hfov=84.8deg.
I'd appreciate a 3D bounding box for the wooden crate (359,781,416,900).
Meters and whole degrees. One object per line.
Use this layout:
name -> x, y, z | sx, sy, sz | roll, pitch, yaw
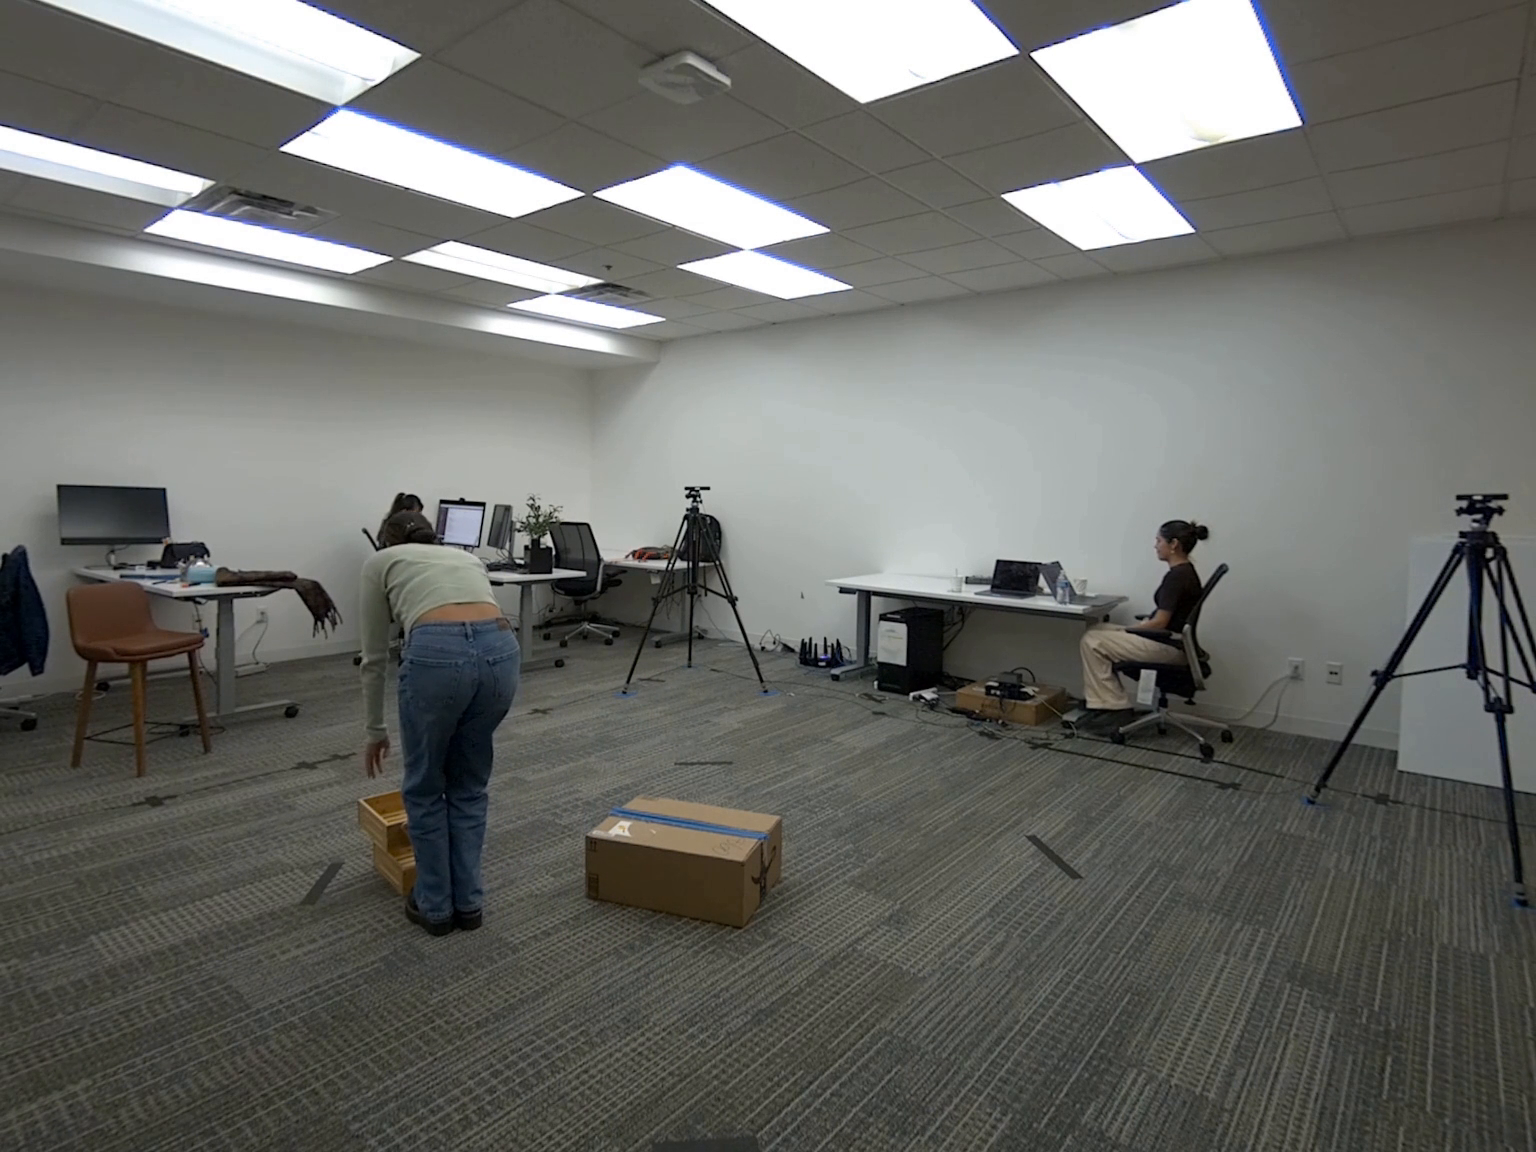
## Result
wooden crate -> -1.260, 0.919, 3.026 | 0.293, 0.272, 0.336 | -5, 7, -42
